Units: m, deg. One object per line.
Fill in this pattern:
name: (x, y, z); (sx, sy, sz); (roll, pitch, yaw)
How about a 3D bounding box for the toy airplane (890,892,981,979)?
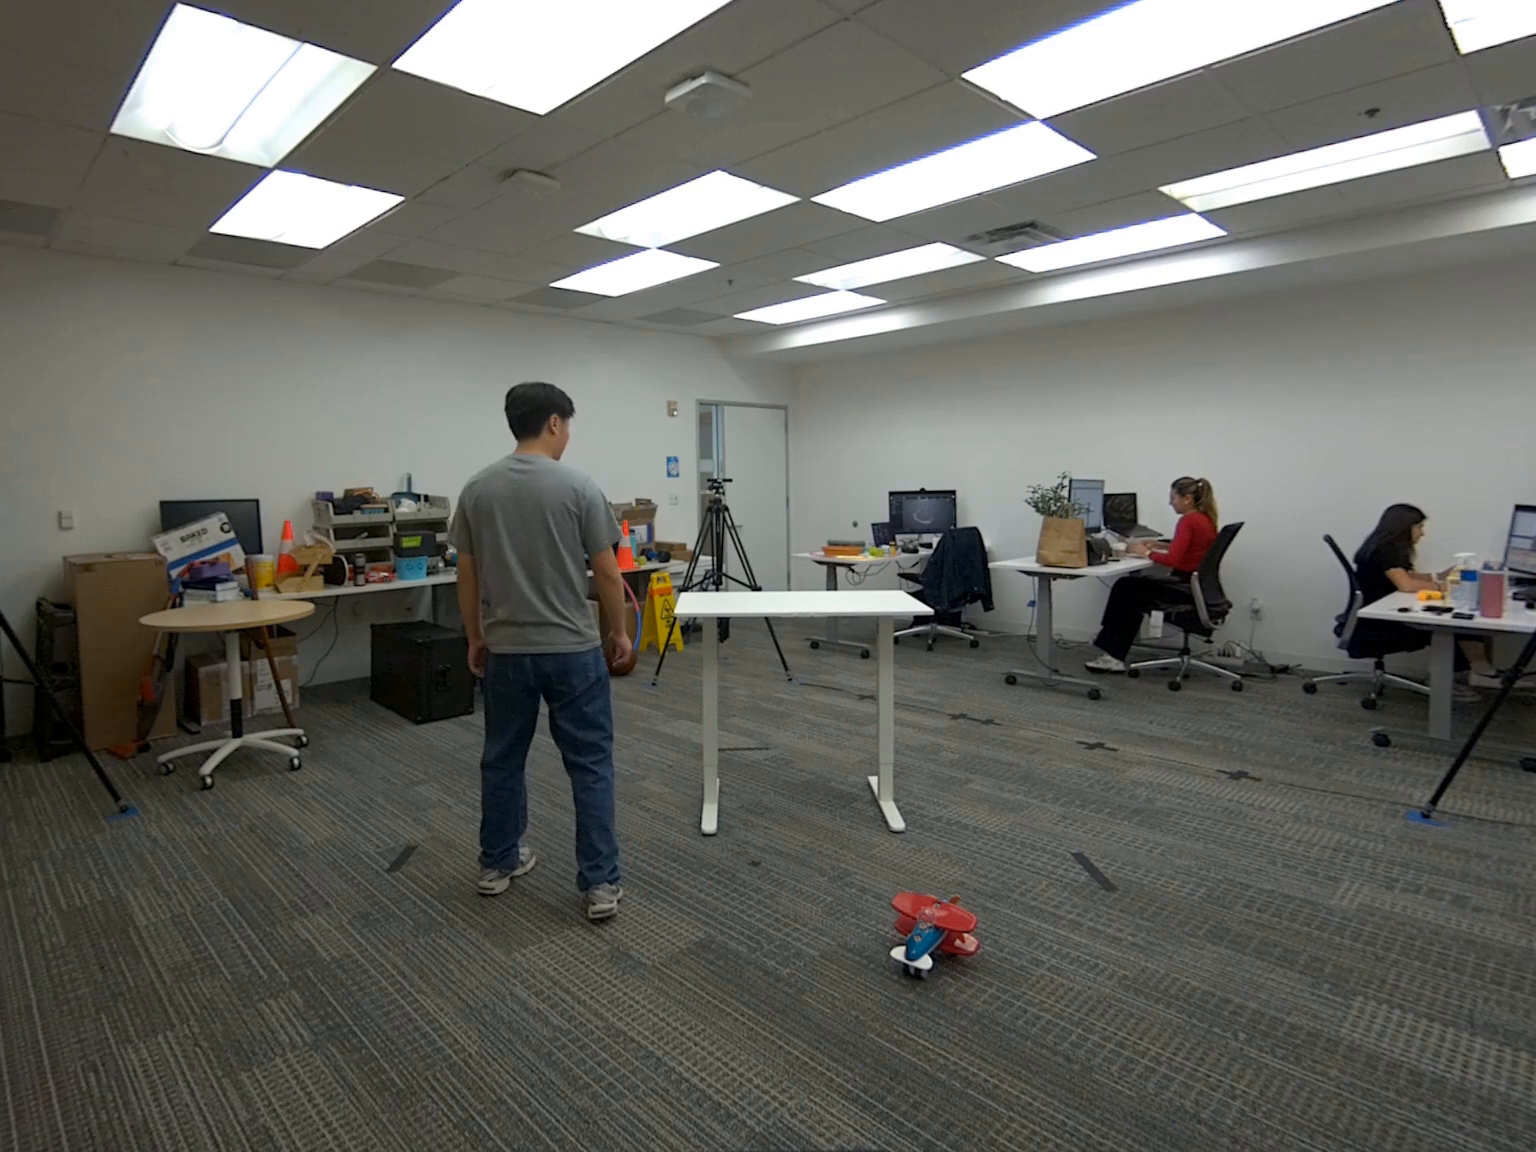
toy airplane: (0.486, 1.037, 2.443); (0.254, 0.156, 0.257); (0, 4, 10)
